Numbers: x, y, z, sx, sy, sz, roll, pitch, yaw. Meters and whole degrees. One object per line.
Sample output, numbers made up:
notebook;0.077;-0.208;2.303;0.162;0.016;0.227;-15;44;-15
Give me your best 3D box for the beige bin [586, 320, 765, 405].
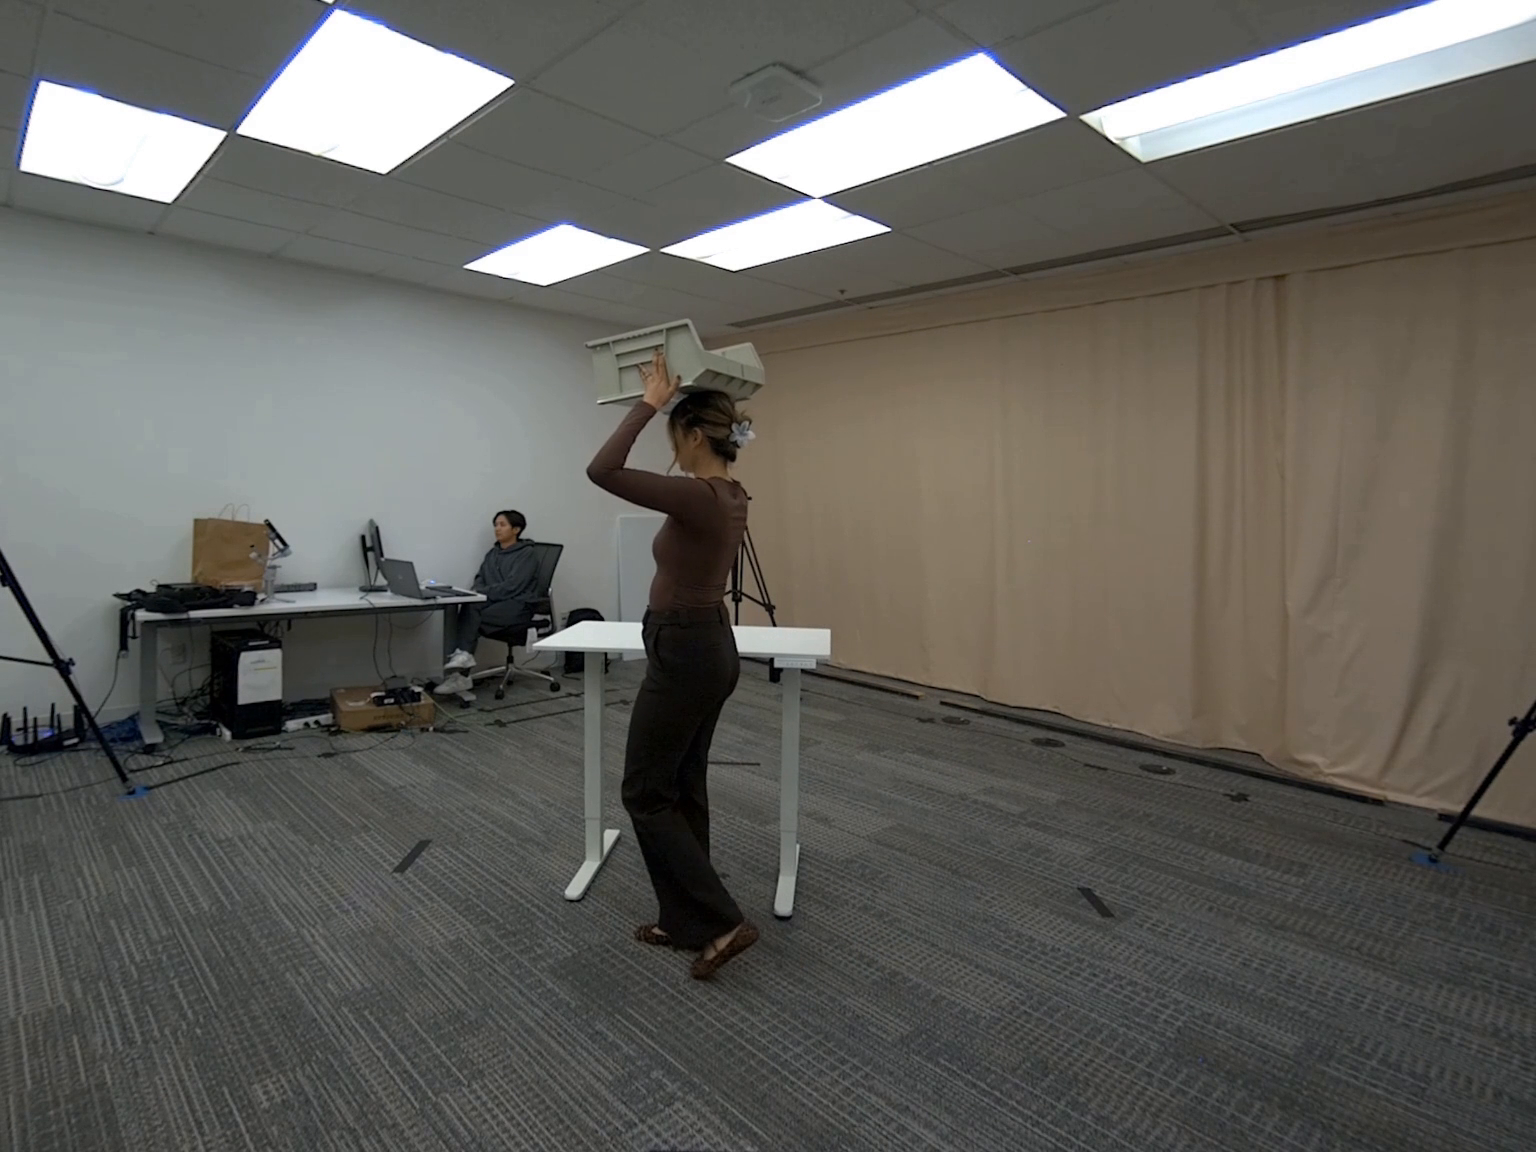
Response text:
beige bin;-0.266;-0.617;2.533;0.383;0.189;0.416;-5;3;23
